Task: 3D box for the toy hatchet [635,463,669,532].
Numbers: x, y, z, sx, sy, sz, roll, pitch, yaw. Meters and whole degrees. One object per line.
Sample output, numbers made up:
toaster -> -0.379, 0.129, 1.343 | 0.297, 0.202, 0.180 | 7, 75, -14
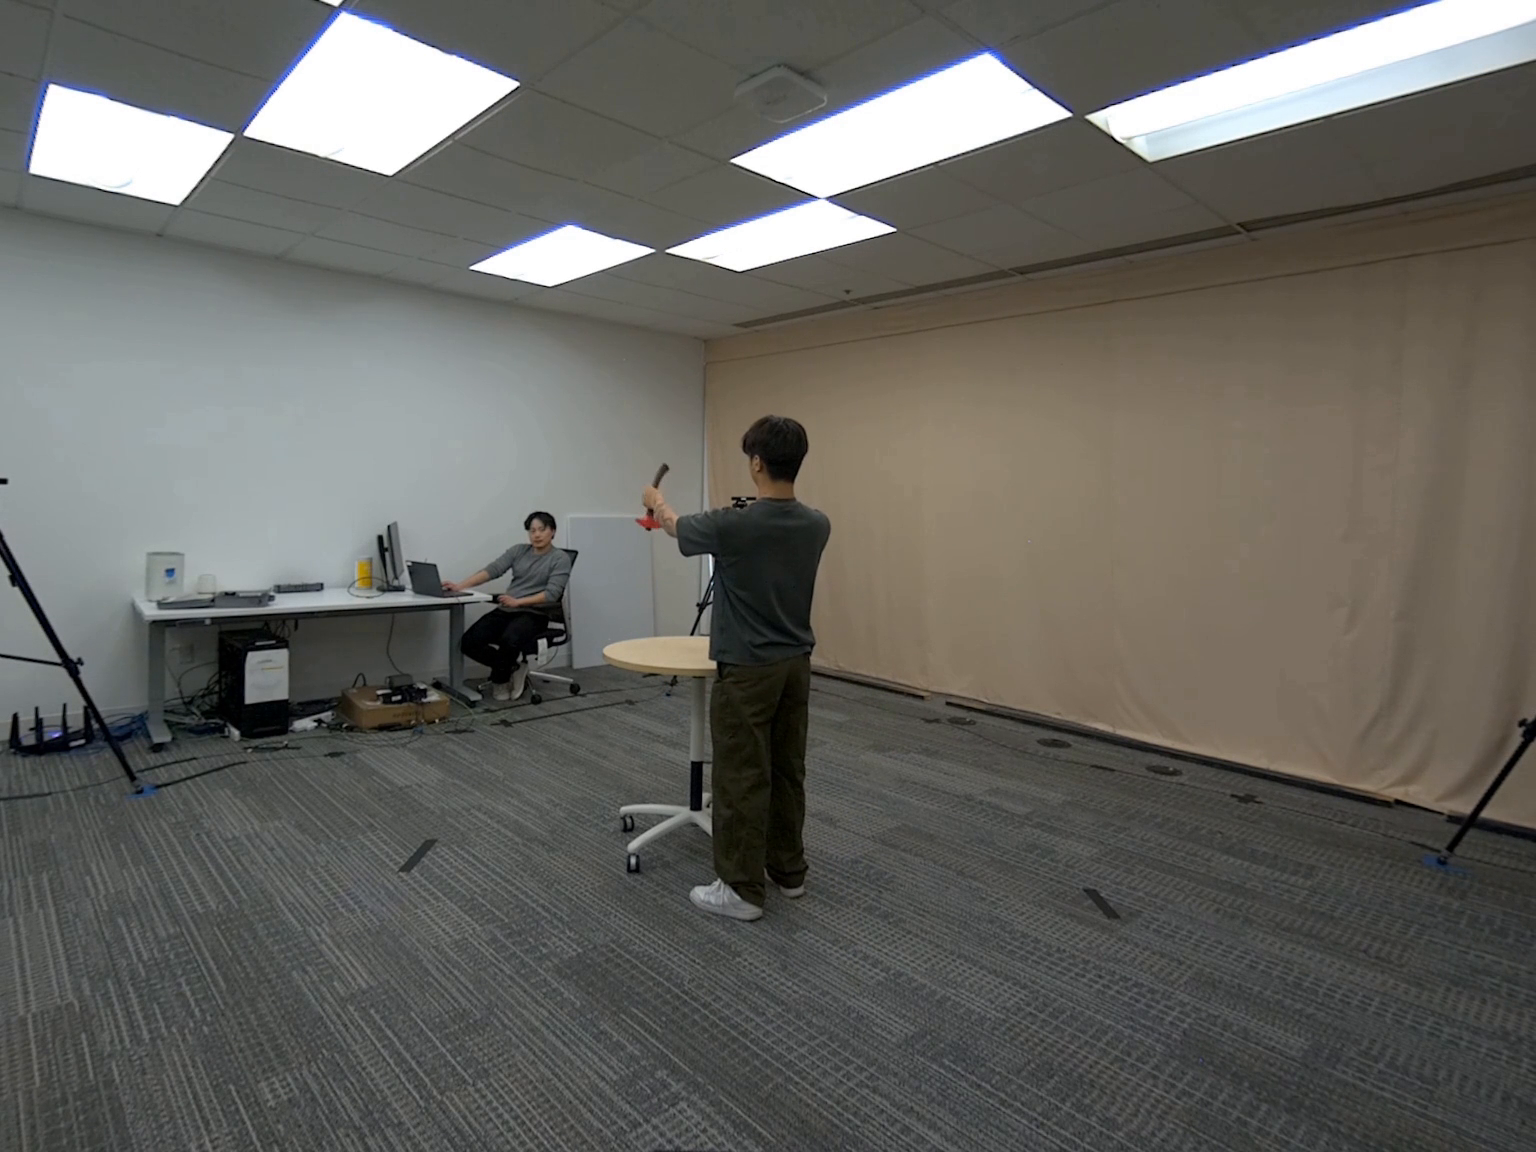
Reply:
toy hatchet -> -0.424, -0.296, 3.253 | 0.030, 0.272, 0.127 | -1, -28, 48
